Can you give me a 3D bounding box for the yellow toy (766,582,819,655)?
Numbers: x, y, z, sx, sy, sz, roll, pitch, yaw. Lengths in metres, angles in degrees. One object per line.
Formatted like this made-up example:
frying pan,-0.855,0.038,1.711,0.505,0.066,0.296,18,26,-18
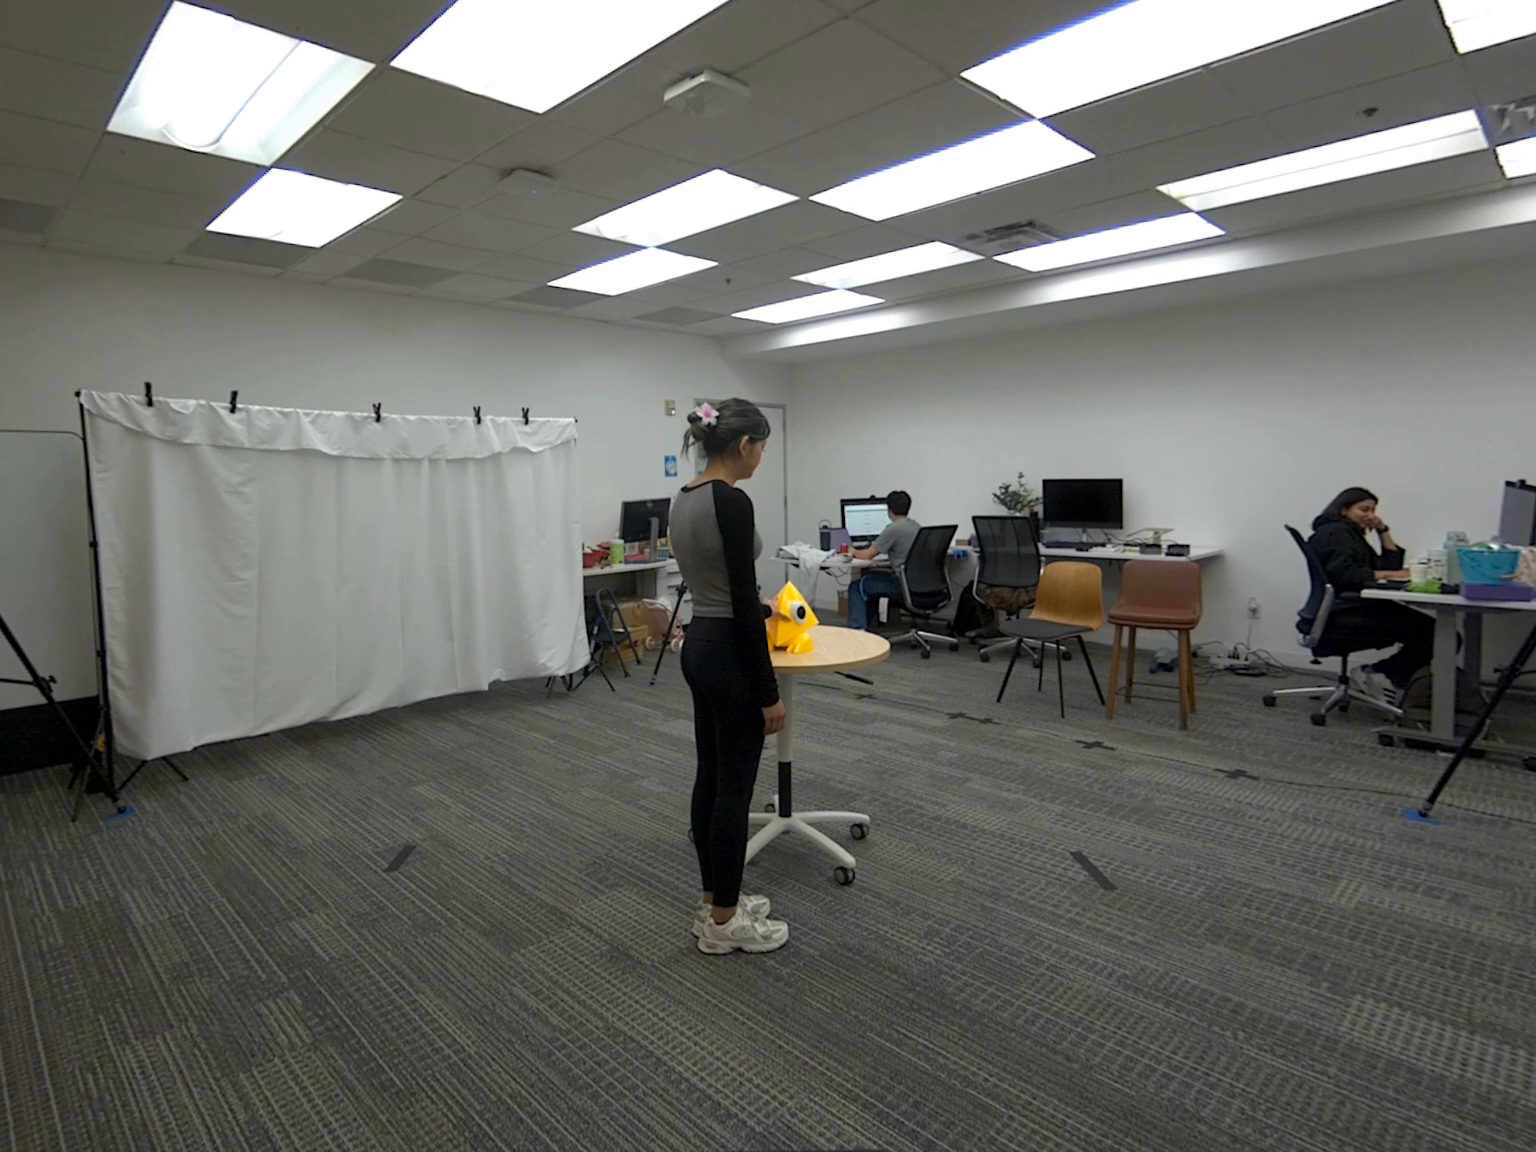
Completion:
yellow toy,0.063,0.144,3.035,0.209,0.229,0.190,1,6,19
